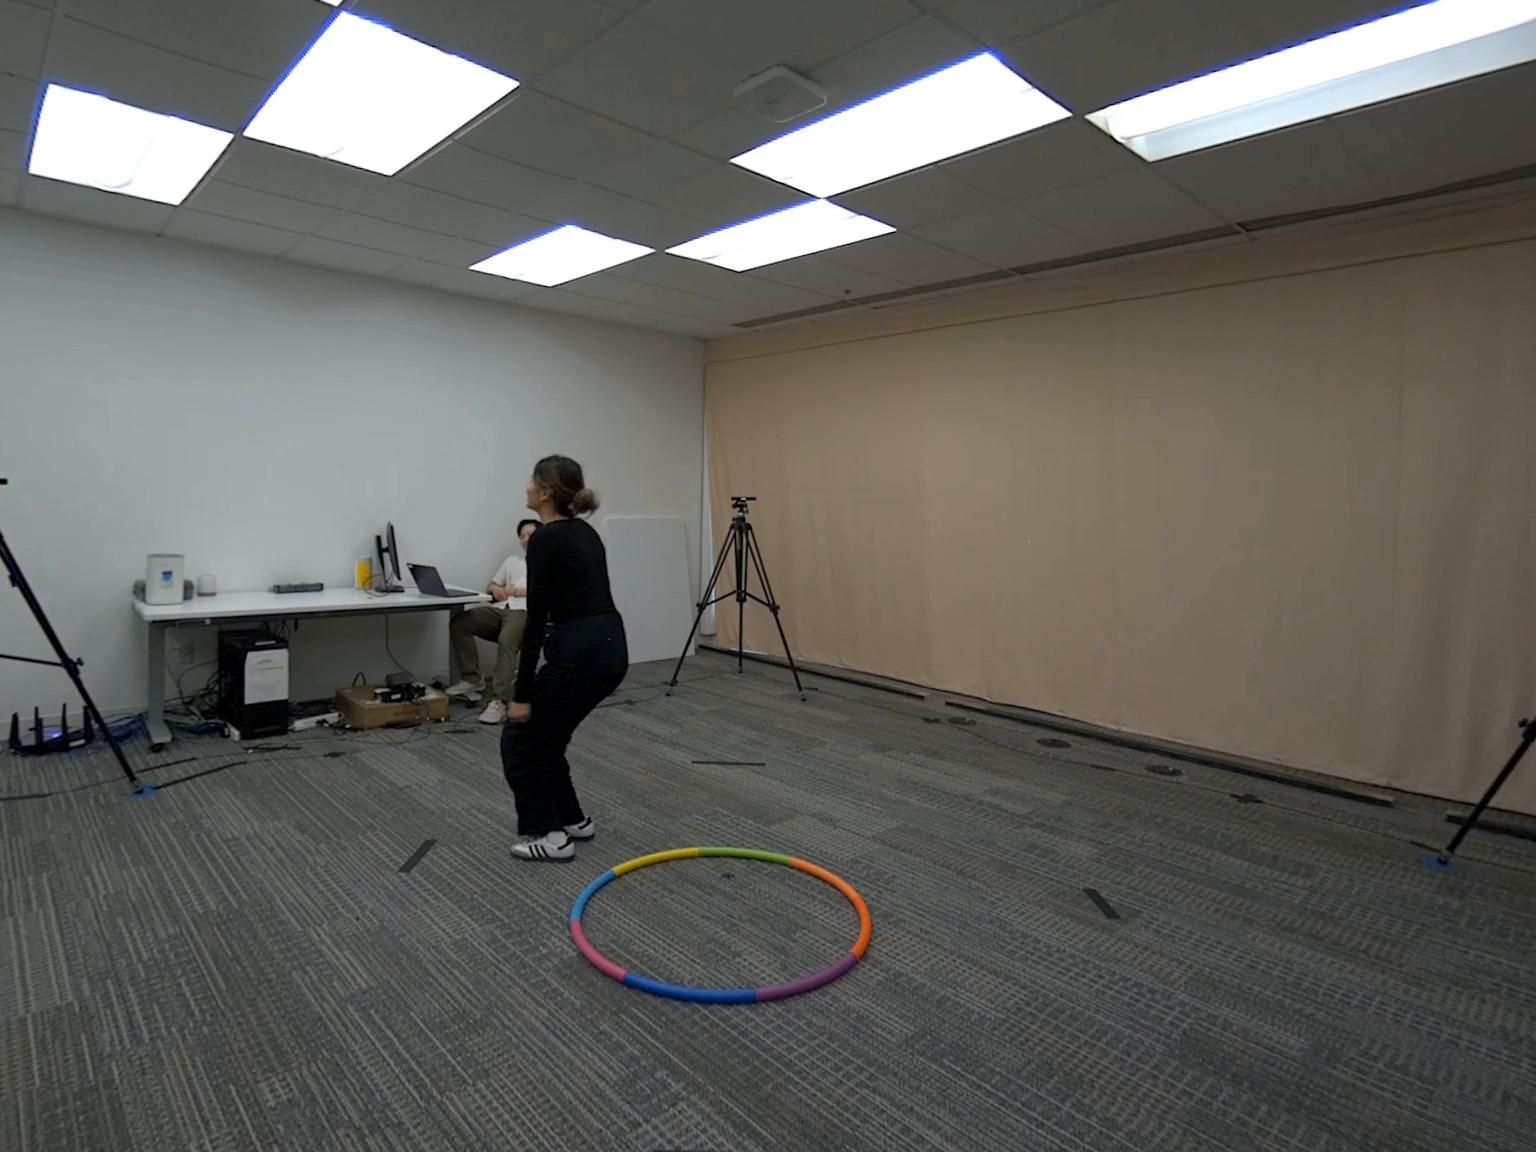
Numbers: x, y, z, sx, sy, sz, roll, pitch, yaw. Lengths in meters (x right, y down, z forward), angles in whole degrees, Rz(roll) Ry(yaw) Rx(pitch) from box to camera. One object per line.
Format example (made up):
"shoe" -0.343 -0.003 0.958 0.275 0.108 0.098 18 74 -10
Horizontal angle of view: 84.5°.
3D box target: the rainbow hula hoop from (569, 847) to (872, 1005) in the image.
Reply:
"rainbow hula hoop" -0.165 1.105 2.801 0.978 0.035 0.982 1 5 -1
